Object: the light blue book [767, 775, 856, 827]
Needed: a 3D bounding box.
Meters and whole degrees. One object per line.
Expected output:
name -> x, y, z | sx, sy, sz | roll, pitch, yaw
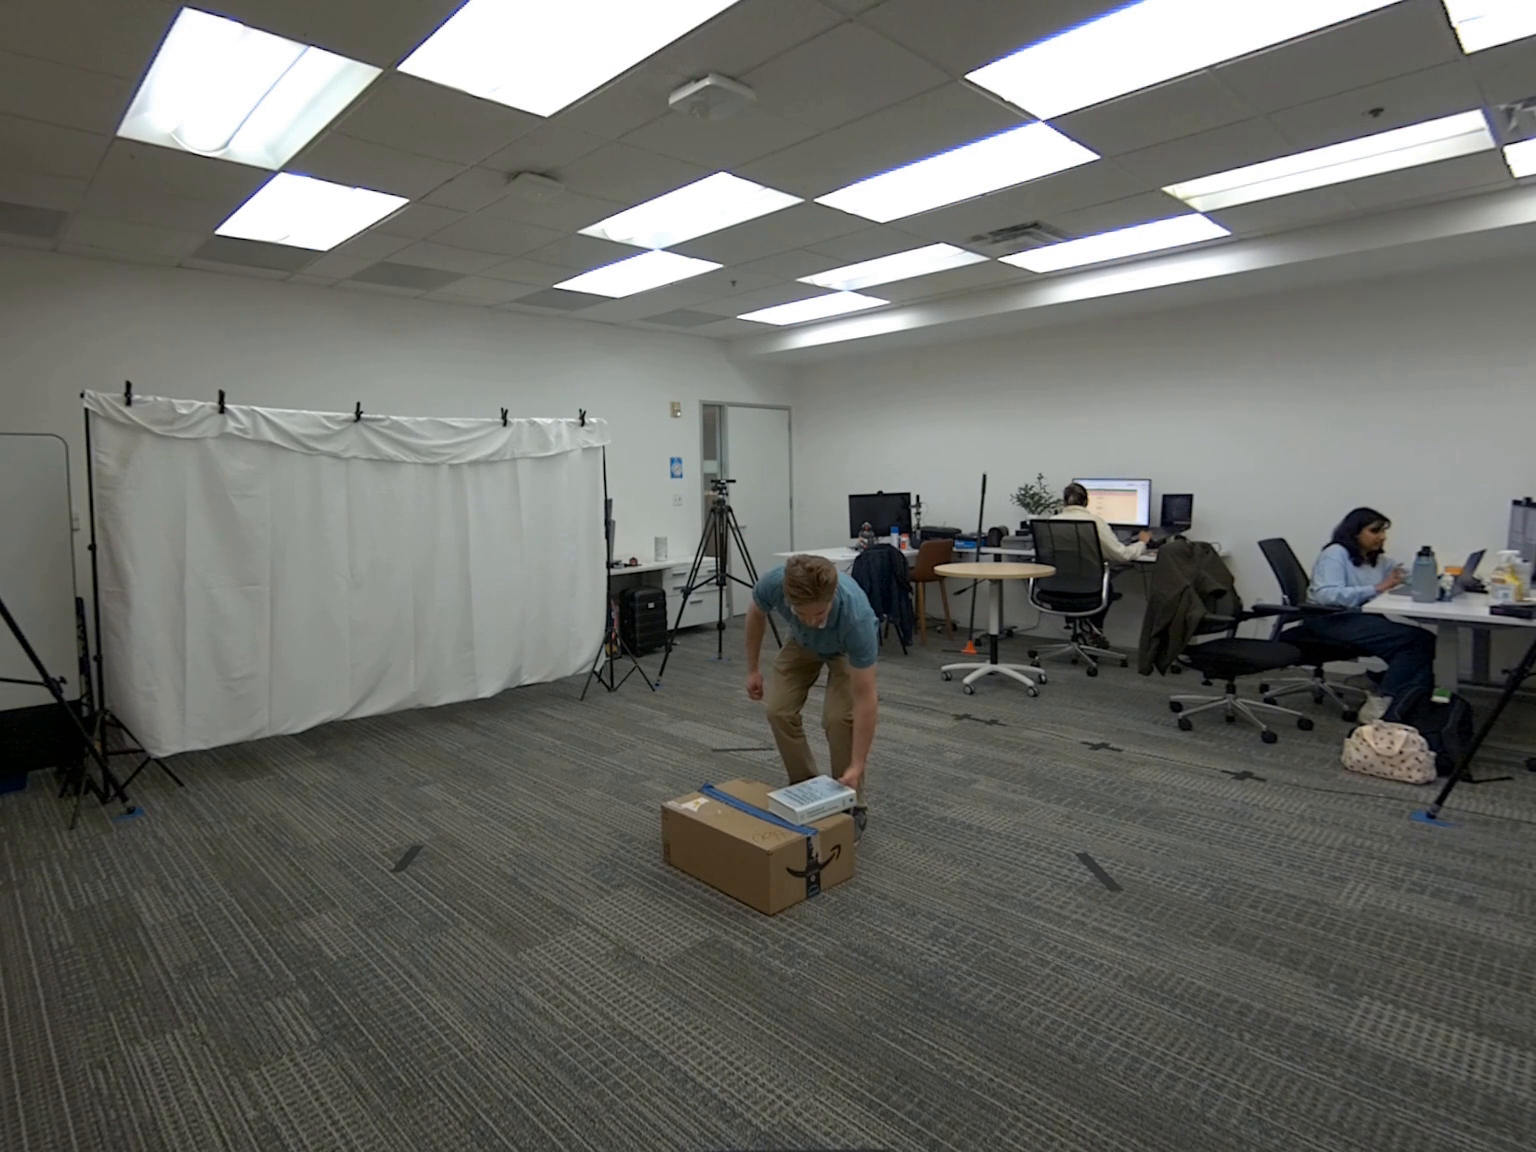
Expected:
light blue book -> 0.159, 0.804, 3.056 | 0.255, 0.058, 0.197 | -10, 11, -31
